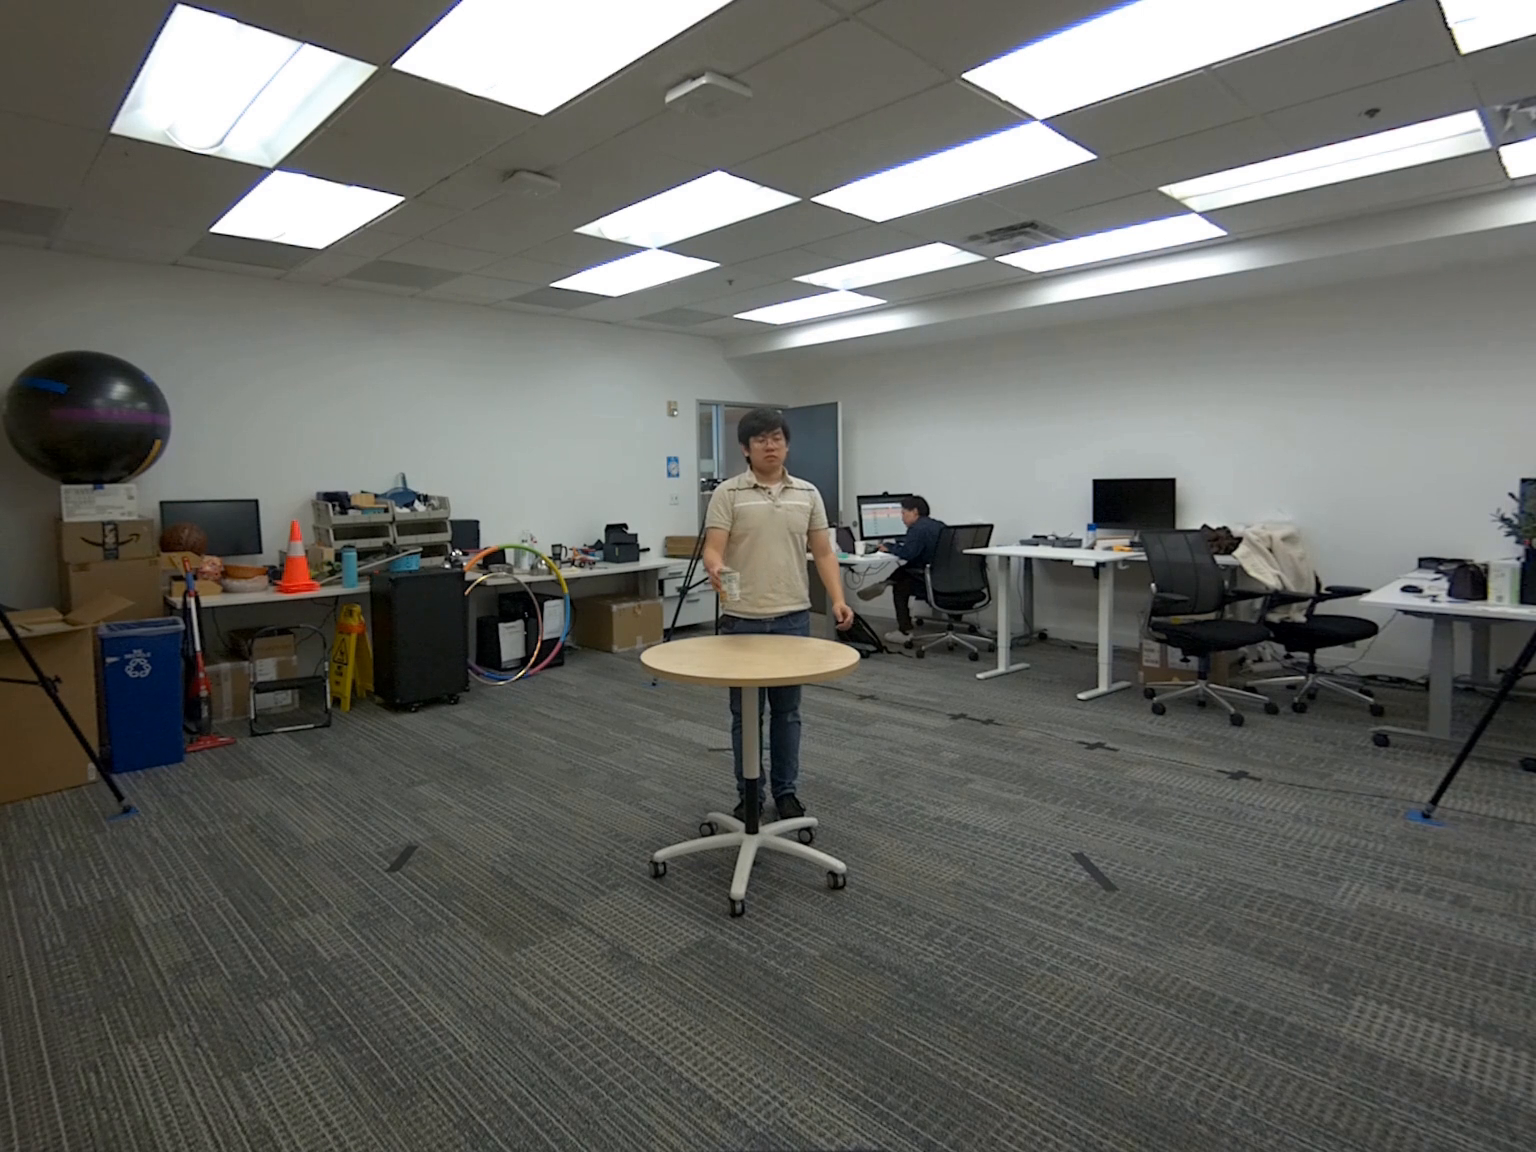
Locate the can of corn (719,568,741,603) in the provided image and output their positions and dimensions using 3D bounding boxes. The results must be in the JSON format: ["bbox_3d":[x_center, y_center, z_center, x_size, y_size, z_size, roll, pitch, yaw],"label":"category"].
[{"bbox_3d":[-0.115,0.042,3.020,0.074,0.110,0.074,-2,6,-1],"label":"can of corn"}]
